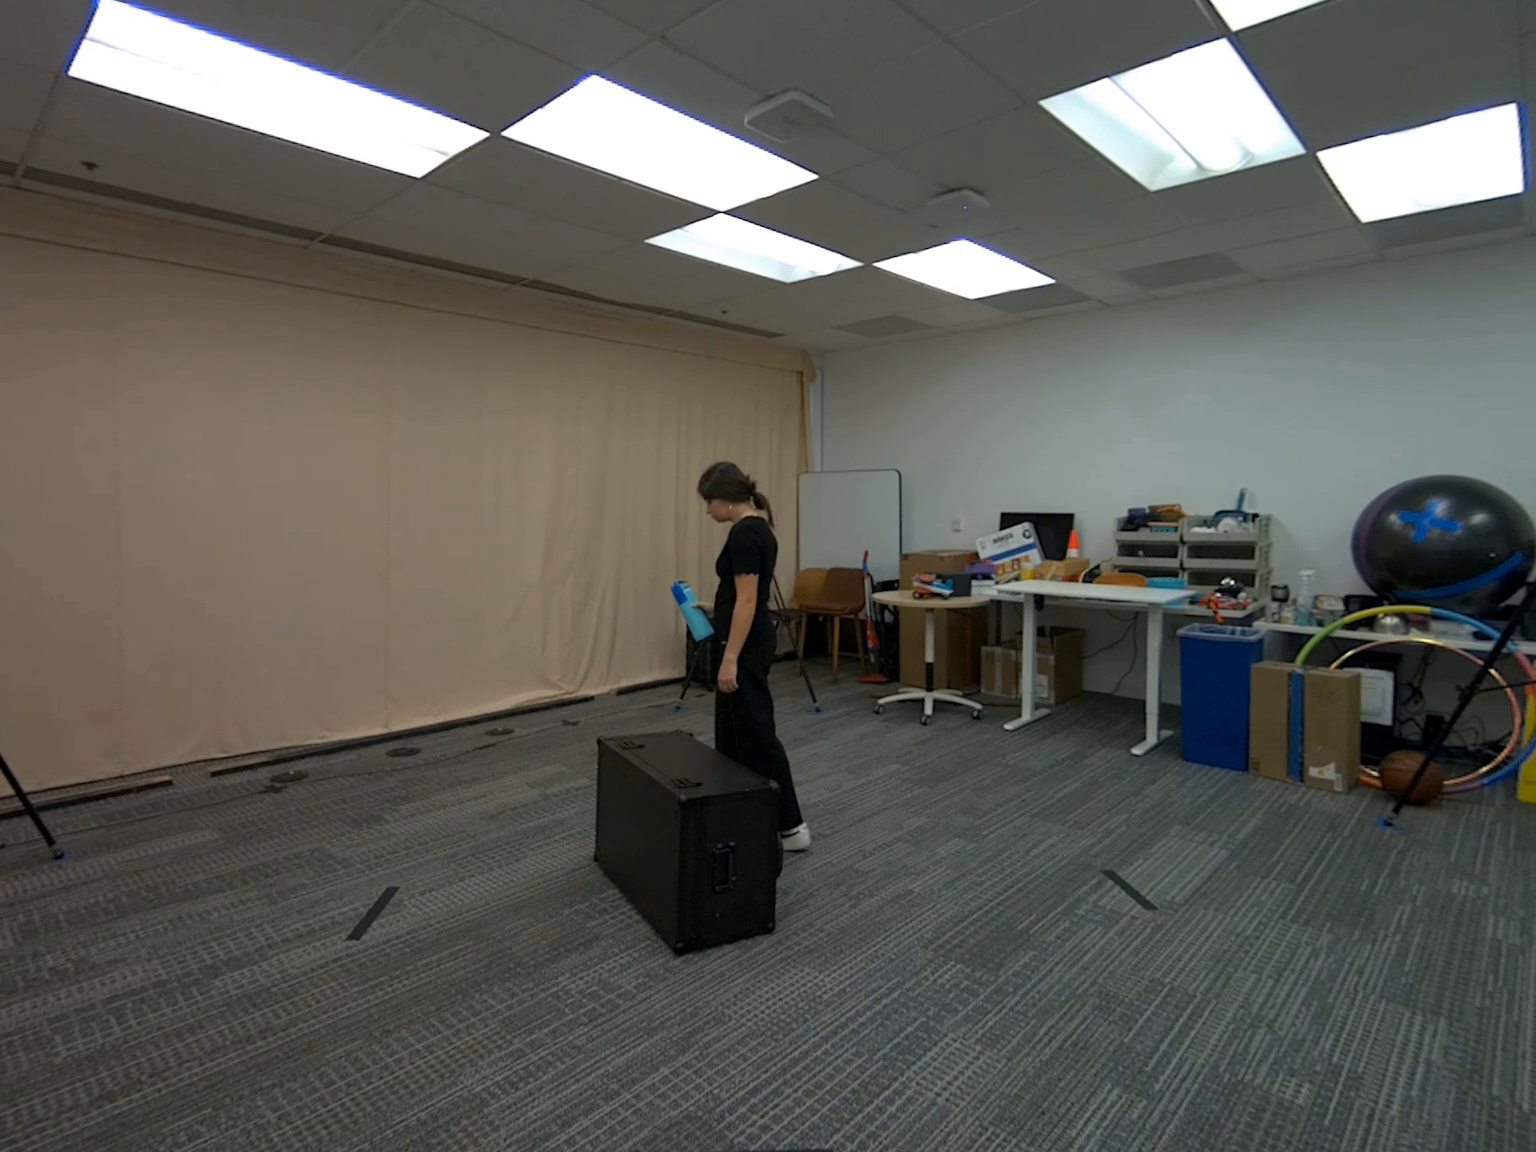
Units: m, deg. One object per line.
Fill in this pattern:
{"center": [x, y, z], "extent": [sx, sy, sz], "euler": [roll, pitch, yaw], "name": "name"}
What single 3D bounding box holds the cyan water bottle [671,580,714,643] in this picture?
{"center": [-0.333, 0.144, 3.720], "extent": [0.092, 0.285, 0.092], "euler": [-27, -6, -4], "name": "cyan water bottle"}
